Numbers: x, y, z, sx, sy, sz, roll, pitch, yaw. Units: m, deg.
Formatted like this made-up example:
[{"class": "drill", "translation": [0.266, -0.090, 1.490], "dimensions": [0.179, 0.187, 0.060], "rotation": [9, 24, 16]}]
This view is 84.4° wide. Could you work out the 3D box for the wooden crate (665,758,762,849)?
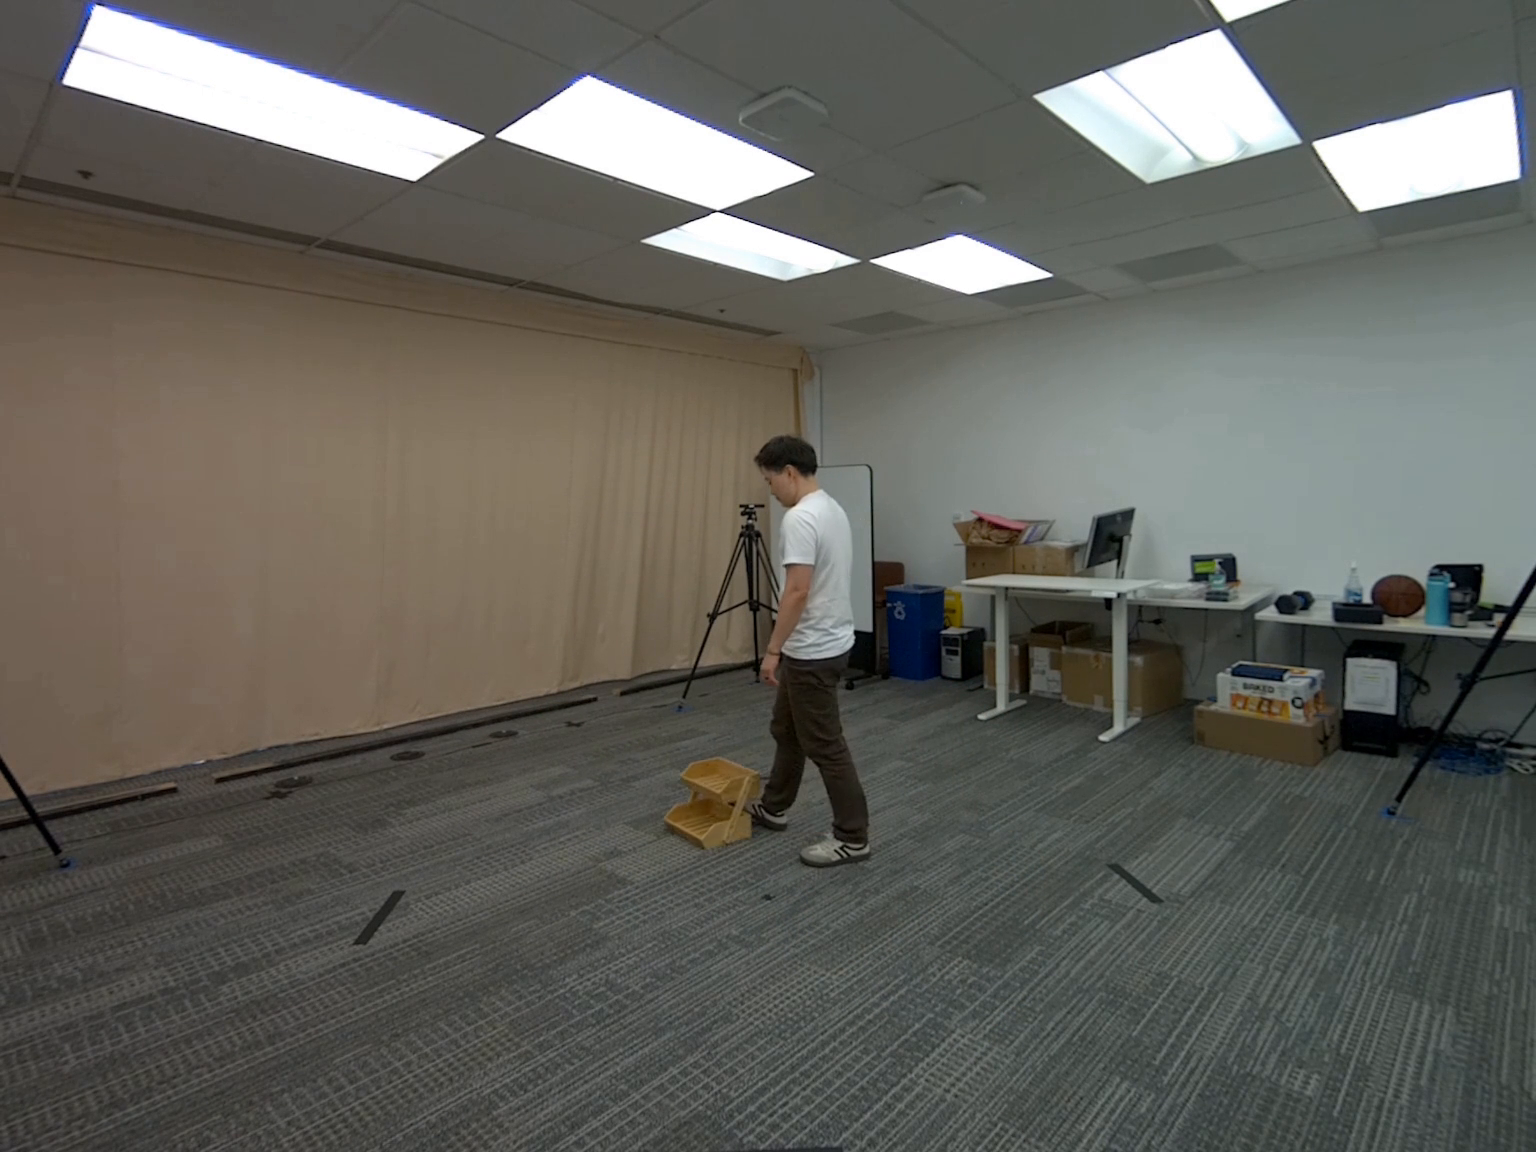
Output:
[{"class": "wooden crate", "translation": [-0.229, 0.959, 3.596], "dimensions": [0.293, 0.273, 0.335], "rotation": [-4, 5, -37]}]
